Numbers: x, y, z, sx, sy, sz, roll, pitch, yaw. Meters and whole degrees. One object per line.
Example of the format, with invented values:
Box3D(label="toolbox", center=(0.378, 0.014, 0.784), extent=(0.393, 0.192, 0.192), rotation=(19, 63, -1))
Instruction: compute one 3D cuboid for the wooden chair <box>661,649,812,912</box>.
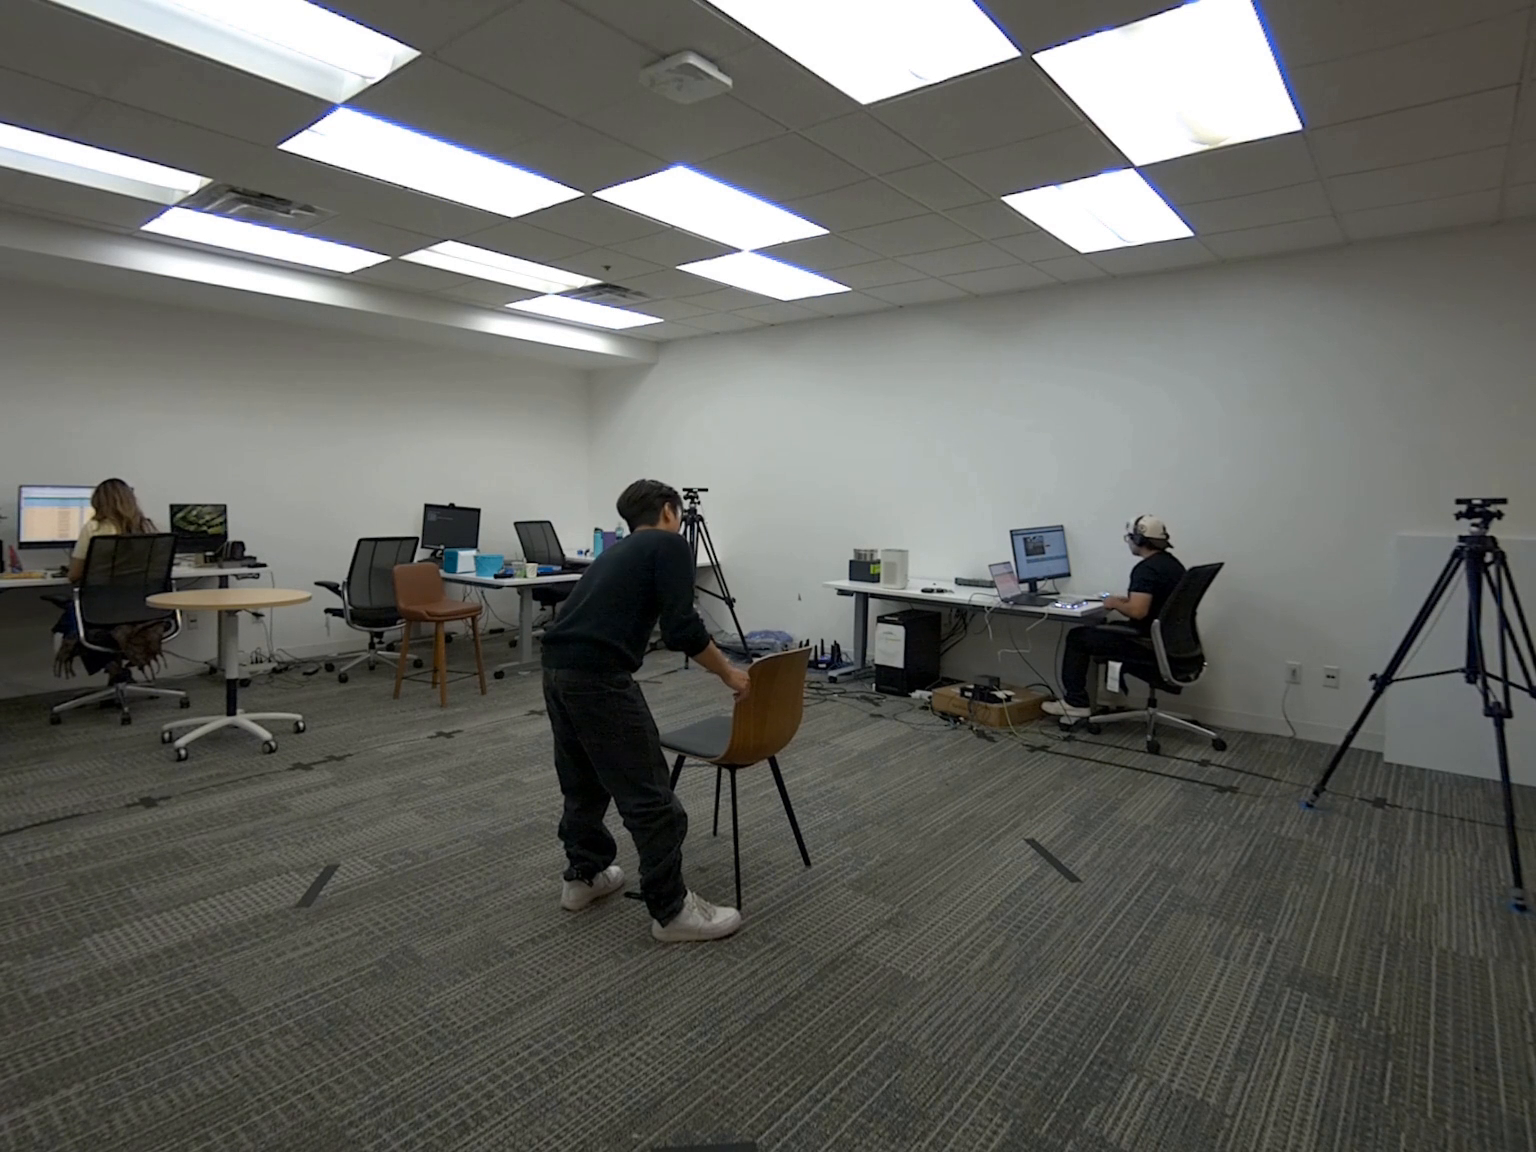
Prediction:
Box3D(label="wooden chair", center=(-0.160, 0.643, 3.098), extent=(0.541, 0.873, 0.464), rotation=(9, 8, 36))
